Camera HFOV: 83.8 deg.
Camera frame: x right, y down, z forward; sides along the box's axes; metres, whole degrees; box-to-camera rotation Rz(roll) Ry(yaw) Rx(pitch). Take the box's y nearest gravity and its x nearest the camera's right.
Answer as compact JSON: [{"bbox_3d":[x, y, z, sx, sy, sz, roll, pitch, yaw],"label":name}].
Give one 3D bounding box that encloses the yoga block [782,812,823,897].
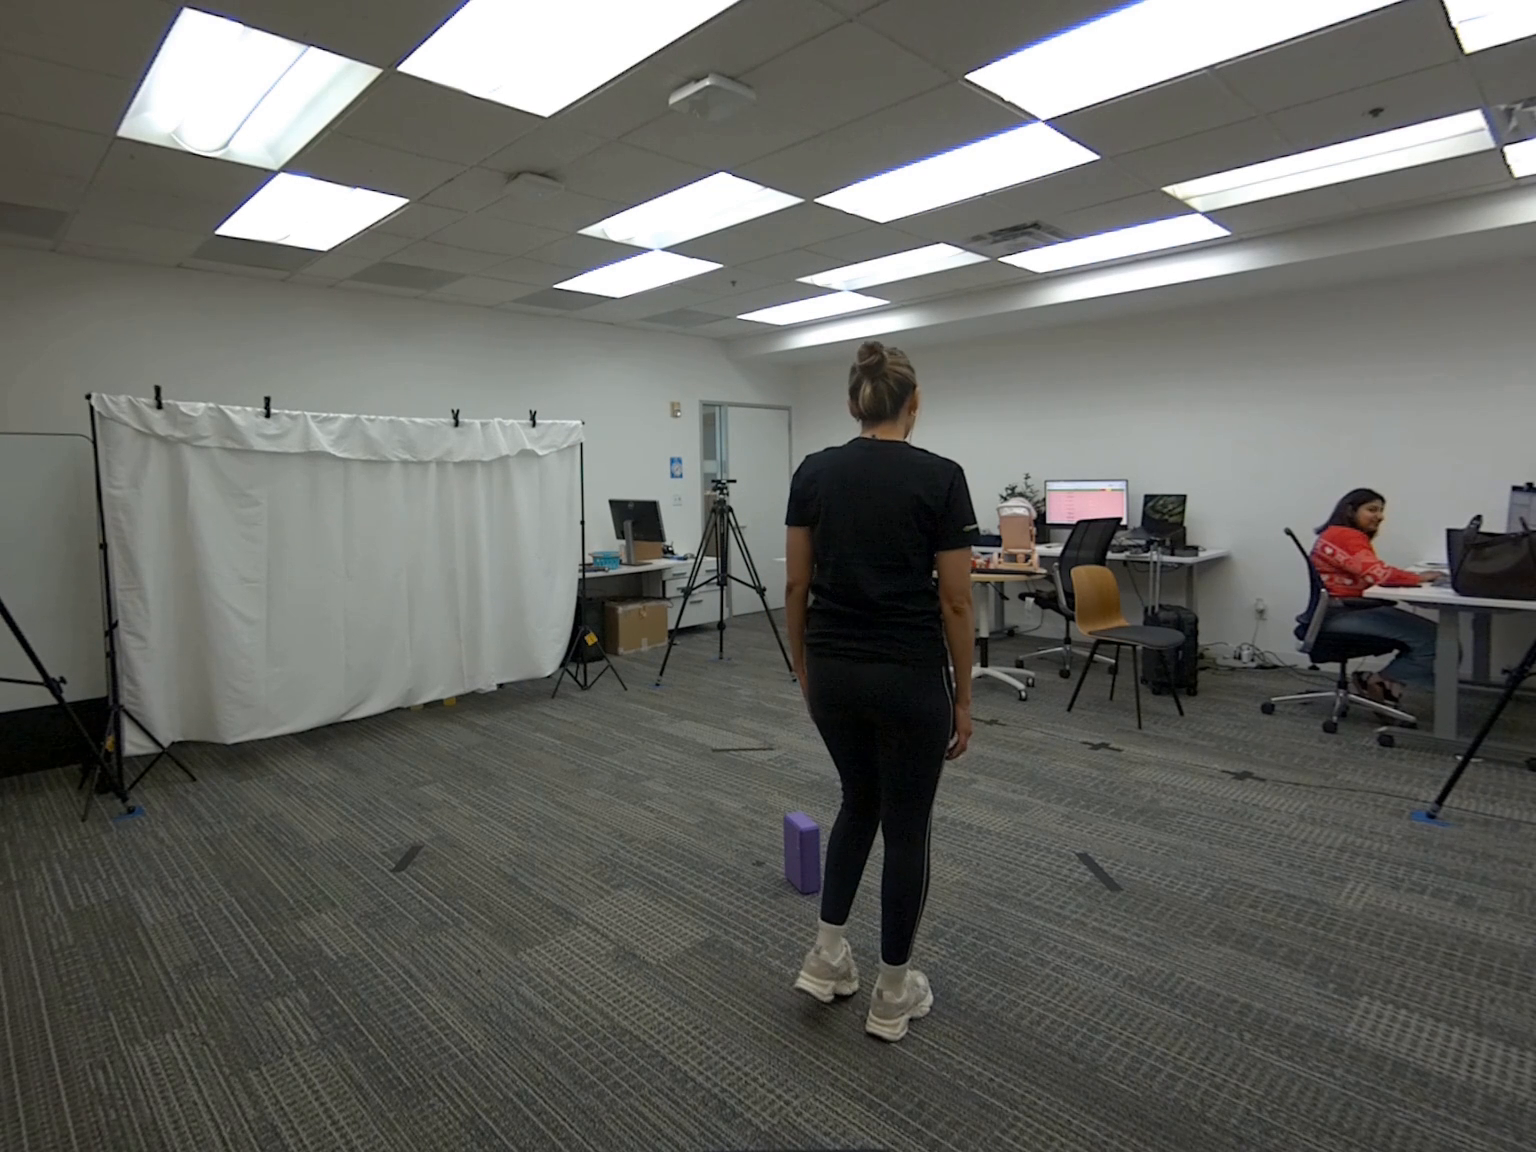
[{"bbox_3d":[0.123,0.946,2.930,0.075,0.228,0.152,-2,5,-23],"label":"yoga block"}]
